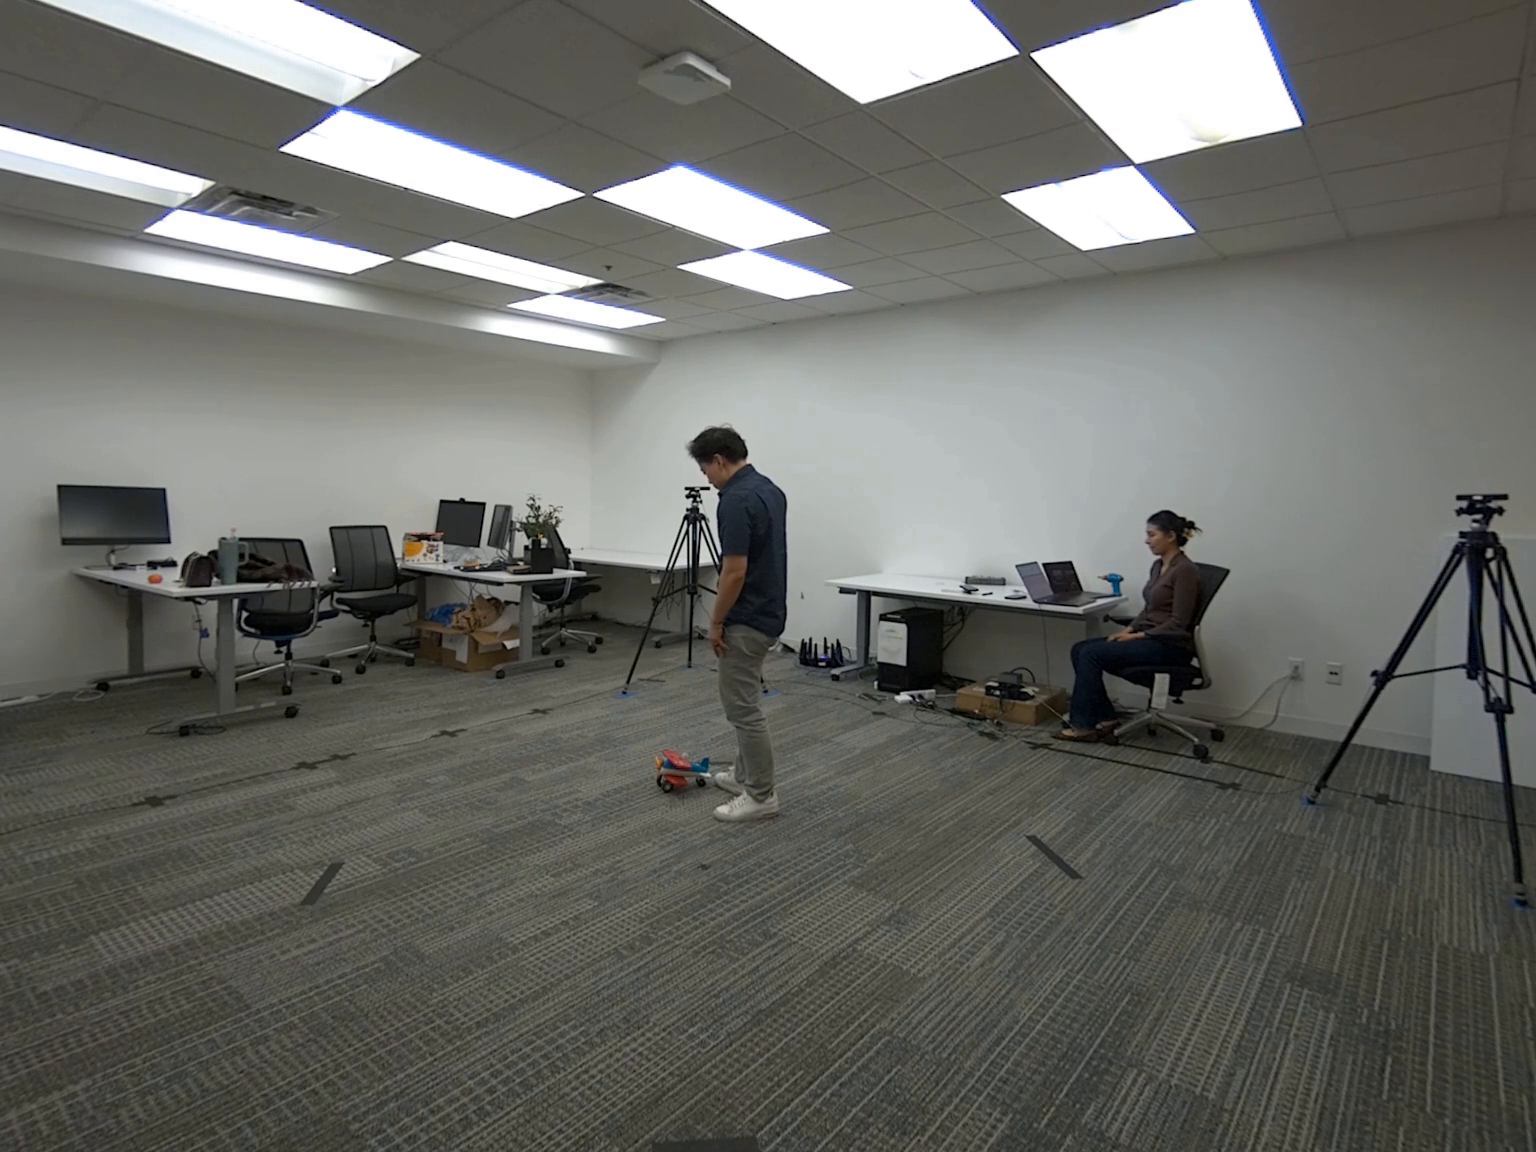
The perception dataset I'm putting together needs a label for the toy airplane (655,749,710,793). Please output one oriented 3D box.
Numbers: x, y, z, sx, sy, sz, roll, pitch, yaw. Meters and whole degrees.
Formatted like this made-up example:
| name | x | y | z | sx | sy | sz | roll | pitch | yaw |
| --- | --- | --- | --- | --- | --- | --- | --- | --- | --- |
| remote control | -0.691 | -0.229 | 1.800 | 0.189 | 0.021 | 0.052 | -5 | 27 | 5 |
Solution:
| name | x | y | z | sx | sy | sz | roll | pitch | yaw |
| --- | --- | --- | --- | --- | --- | --- | --- | --- | --- |
| toy airplane | -0.417 | 0.906 | 3.974 | 0.259 | 0.156 | 0.252 | 4 | 7 | 41 |
